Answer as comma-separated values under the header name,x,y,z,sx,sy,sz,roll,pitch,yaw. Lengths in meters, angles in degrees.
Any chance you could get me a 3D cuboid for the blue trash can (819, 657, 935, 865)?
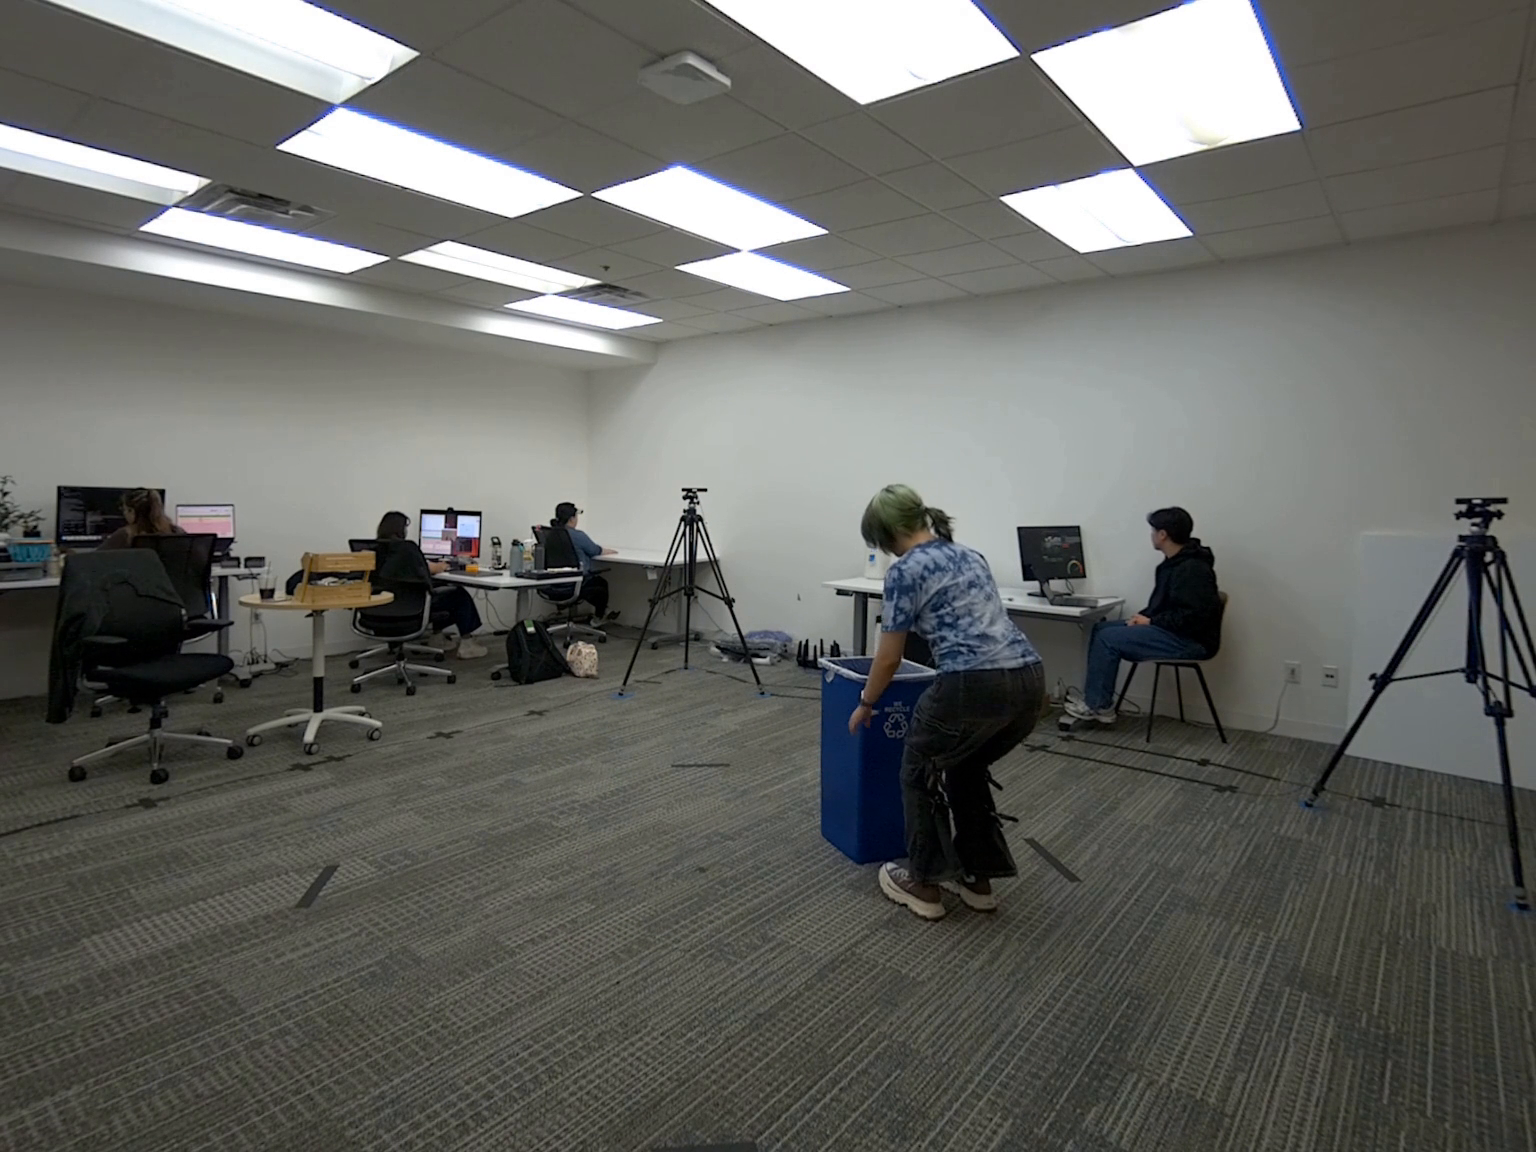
name,x,y,z,sx,sy,sz,roll,pitch,yaw
blue trash can,0.417,0.703,3.354,0.366,0.711,0.388,0,4,-23
